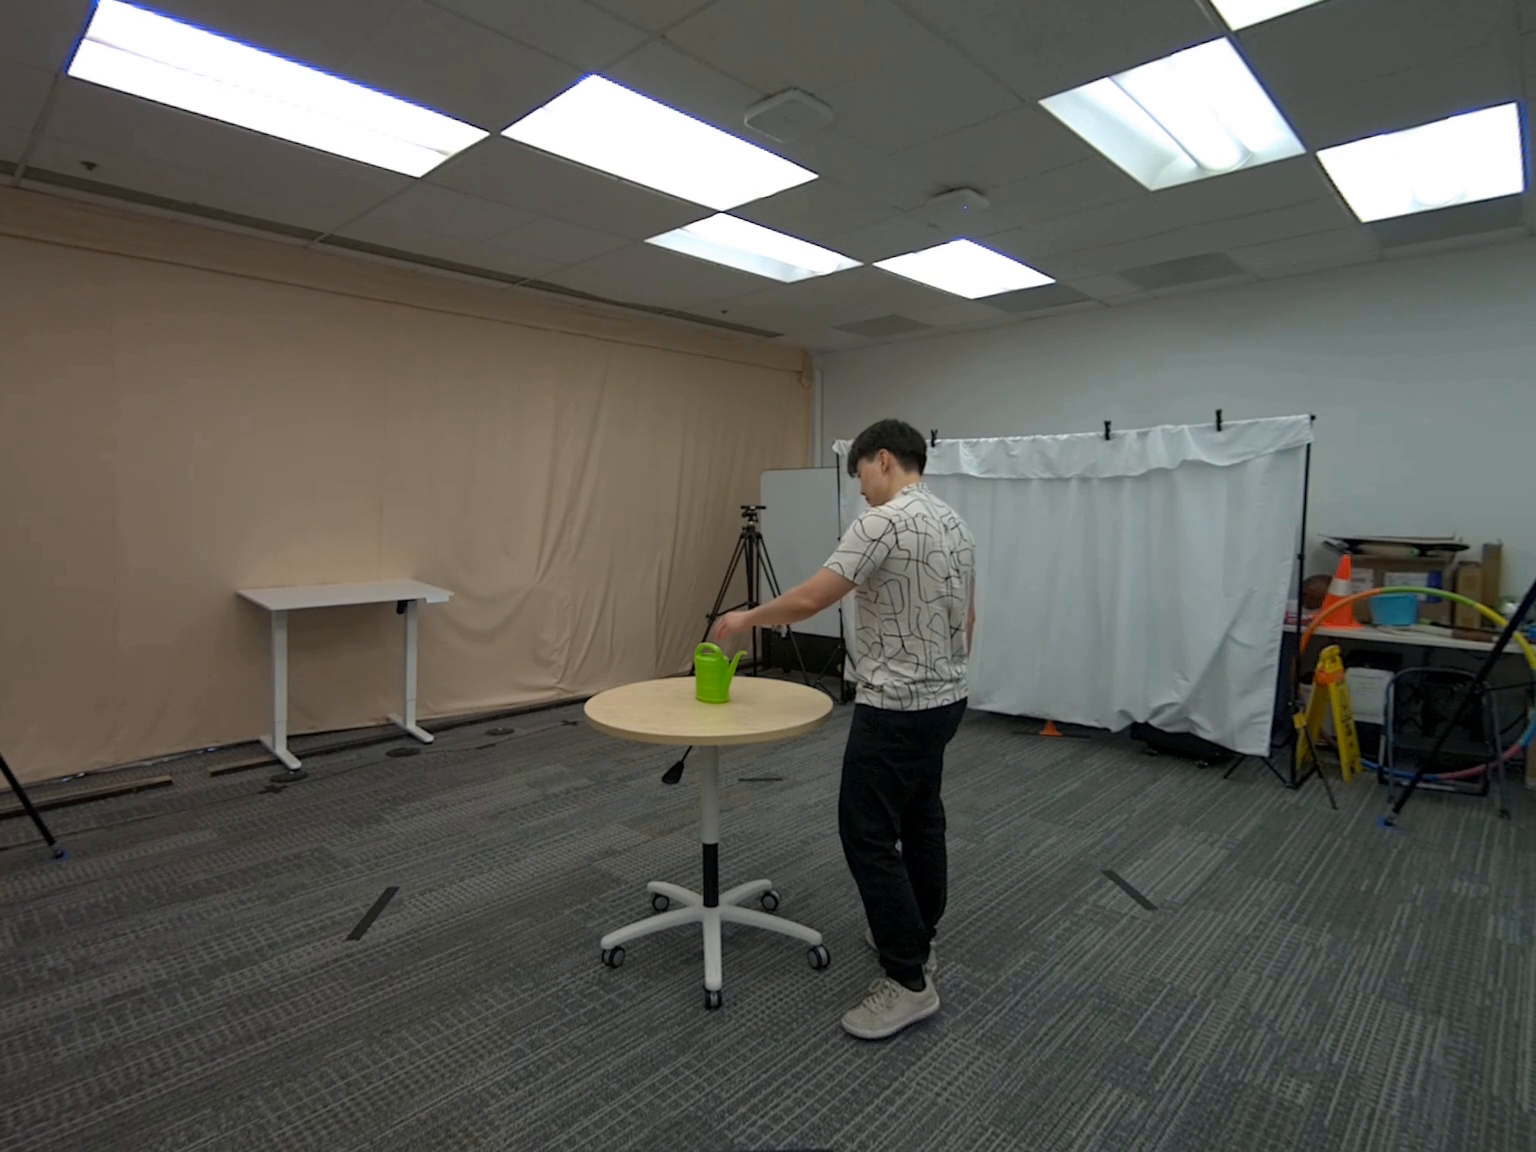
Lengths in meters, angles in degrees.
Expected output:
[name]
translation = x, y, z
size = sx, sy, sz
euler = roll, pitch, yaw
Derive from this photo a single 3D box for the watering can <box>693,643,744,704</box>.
[watering can]
translation = -0.154, 0.303, 2.599
size = 0.096, 0.176, 0.283
euler = -1, 3, -18
